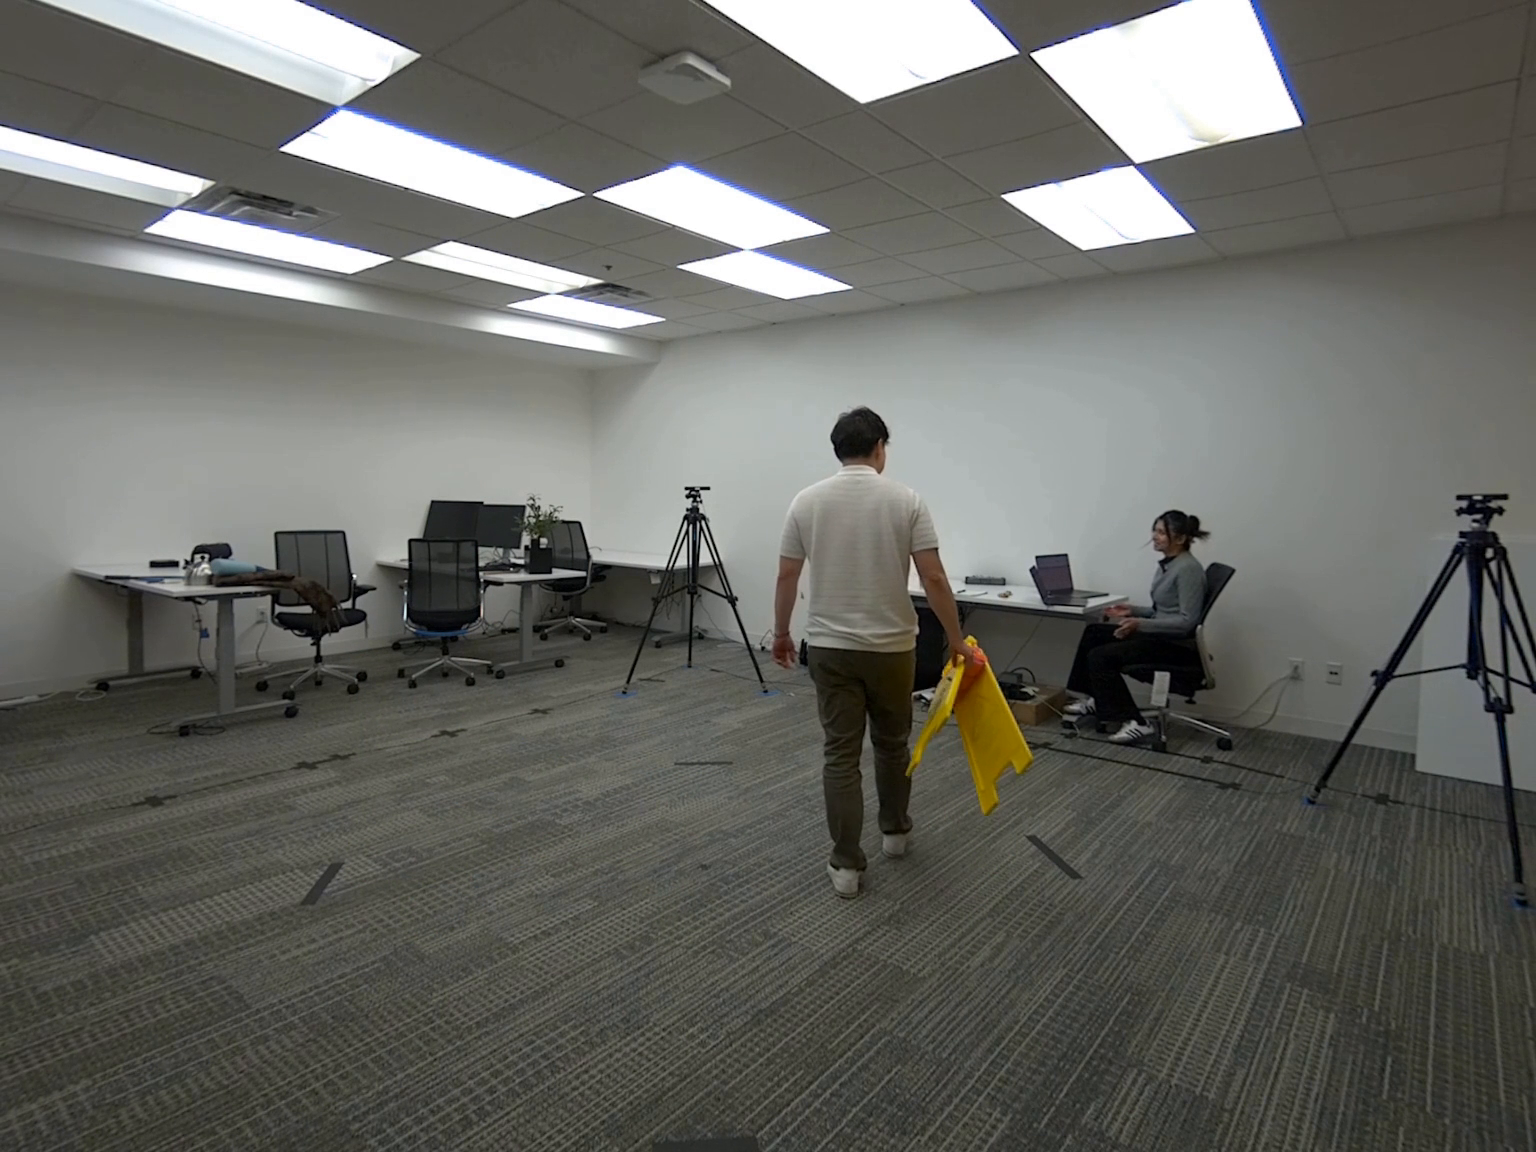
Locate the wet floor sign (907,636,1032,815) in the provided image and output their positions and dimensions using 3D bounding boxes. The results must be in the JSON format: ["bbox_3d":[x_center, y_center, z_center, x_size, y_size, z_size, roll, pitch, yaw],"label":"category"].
[{"bbox_3d":[0.667,0.448,2.950,0.289,0.279,0.655,25,29,-4],"label":"wet floor sign"}]
